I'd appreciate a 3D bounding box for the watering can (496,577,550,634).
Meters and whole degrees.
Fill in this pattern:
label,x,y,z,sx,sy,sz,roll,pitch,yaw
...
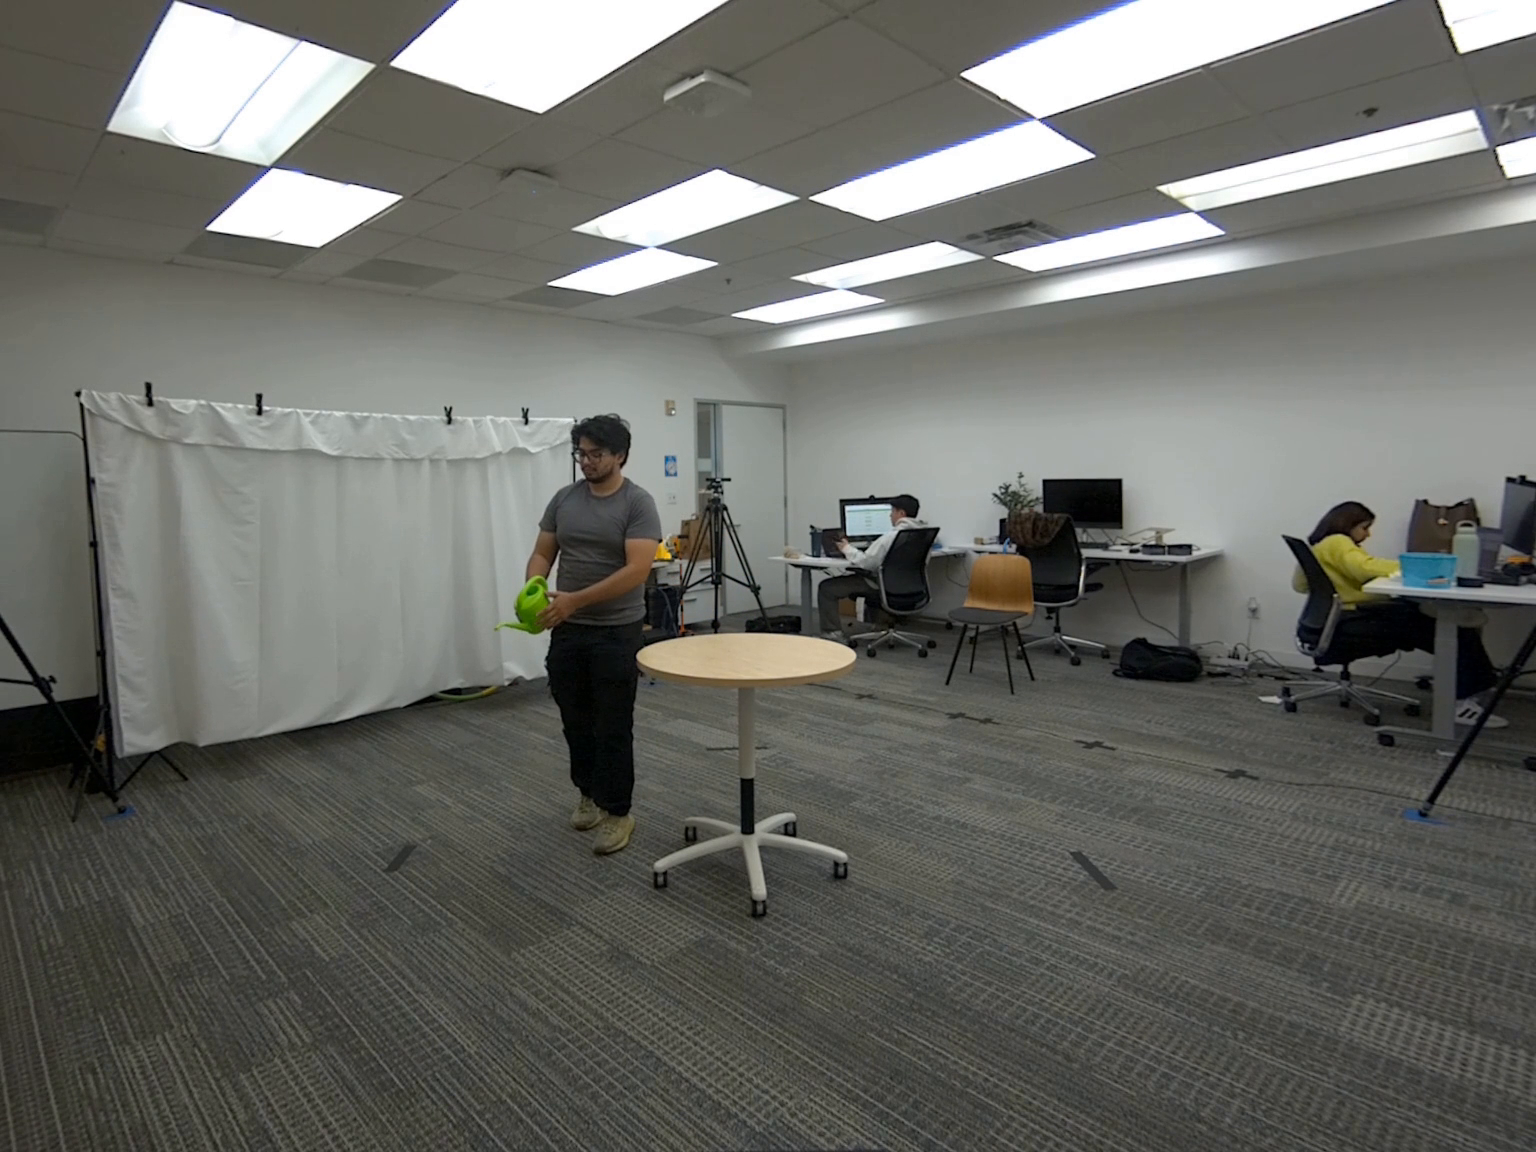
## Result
label,x,y,z,sx,sy,sz,roll,pitch,yaw
watering can,-0.857,0.134,2.984,0.101,0.171,0.279,19,52,28
